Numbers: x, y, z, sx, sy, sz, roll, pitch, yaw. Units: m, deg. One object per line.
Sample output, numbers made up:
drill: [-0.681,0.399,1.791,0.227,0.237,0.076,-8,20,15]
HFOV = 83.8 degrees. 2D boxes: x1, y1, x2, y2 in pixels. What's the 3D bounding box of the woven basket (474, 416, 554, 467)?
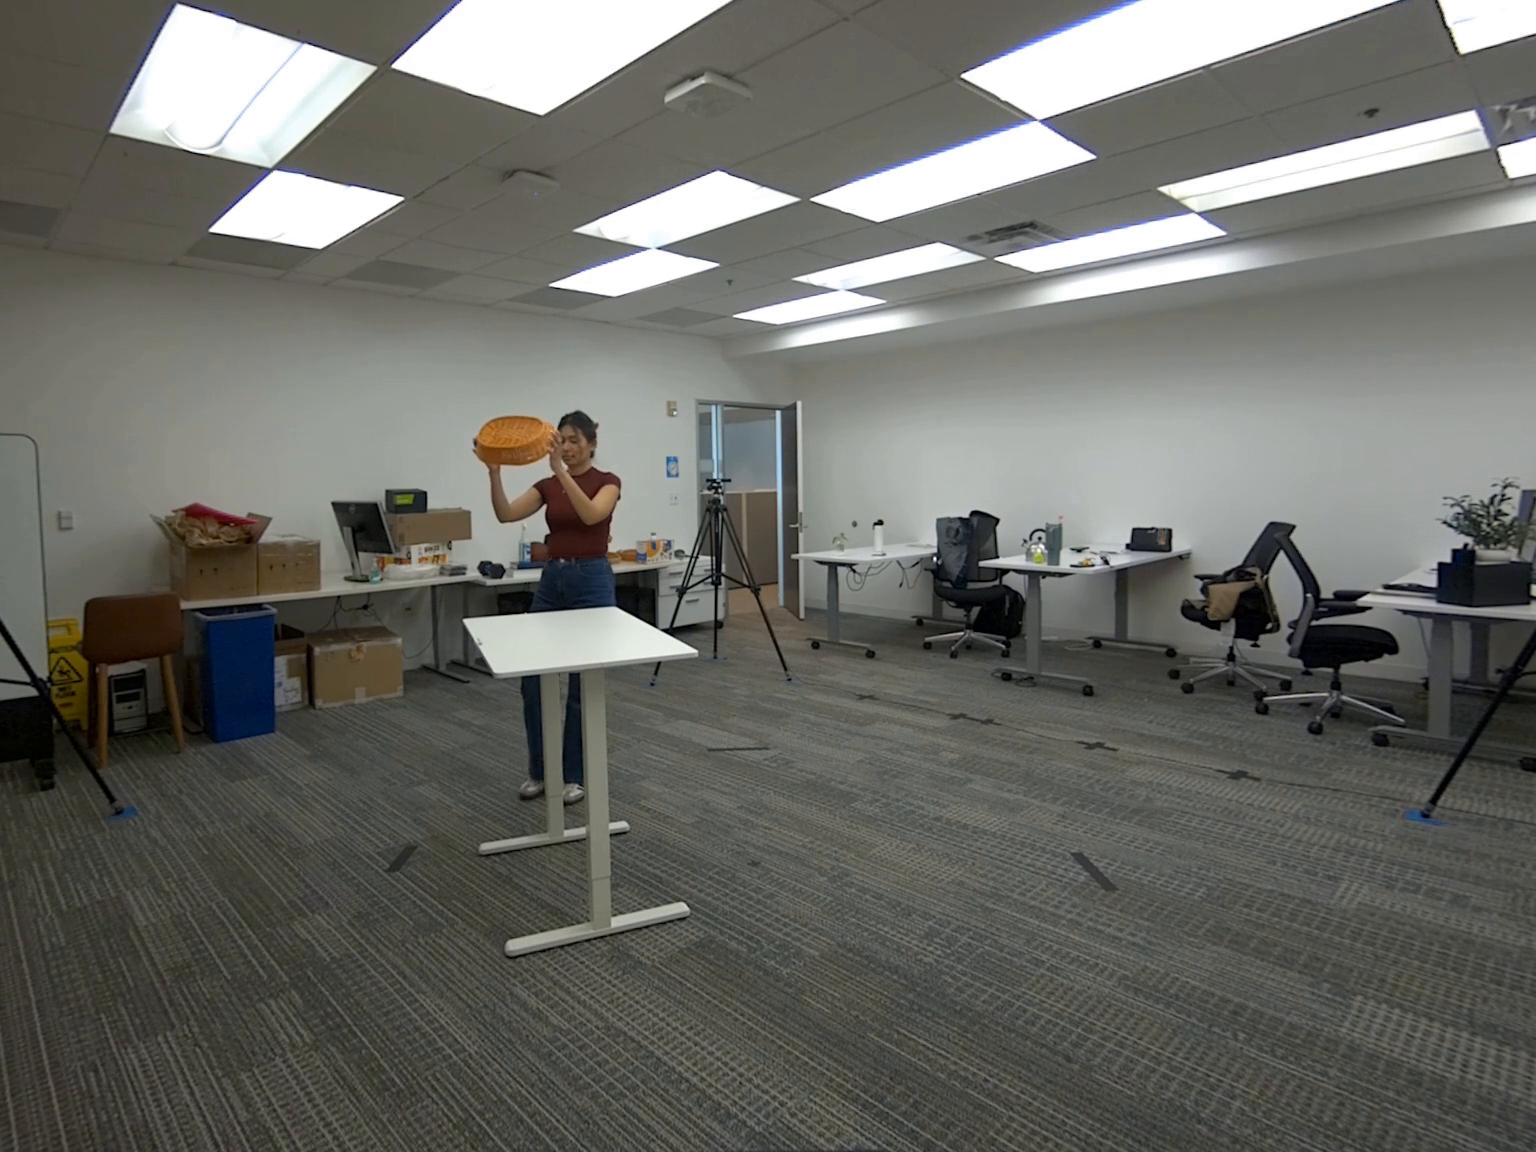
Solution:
woven basket: [-0.998,-0.546,3.356,0.357,0.256,0.071,4,-38,18]
